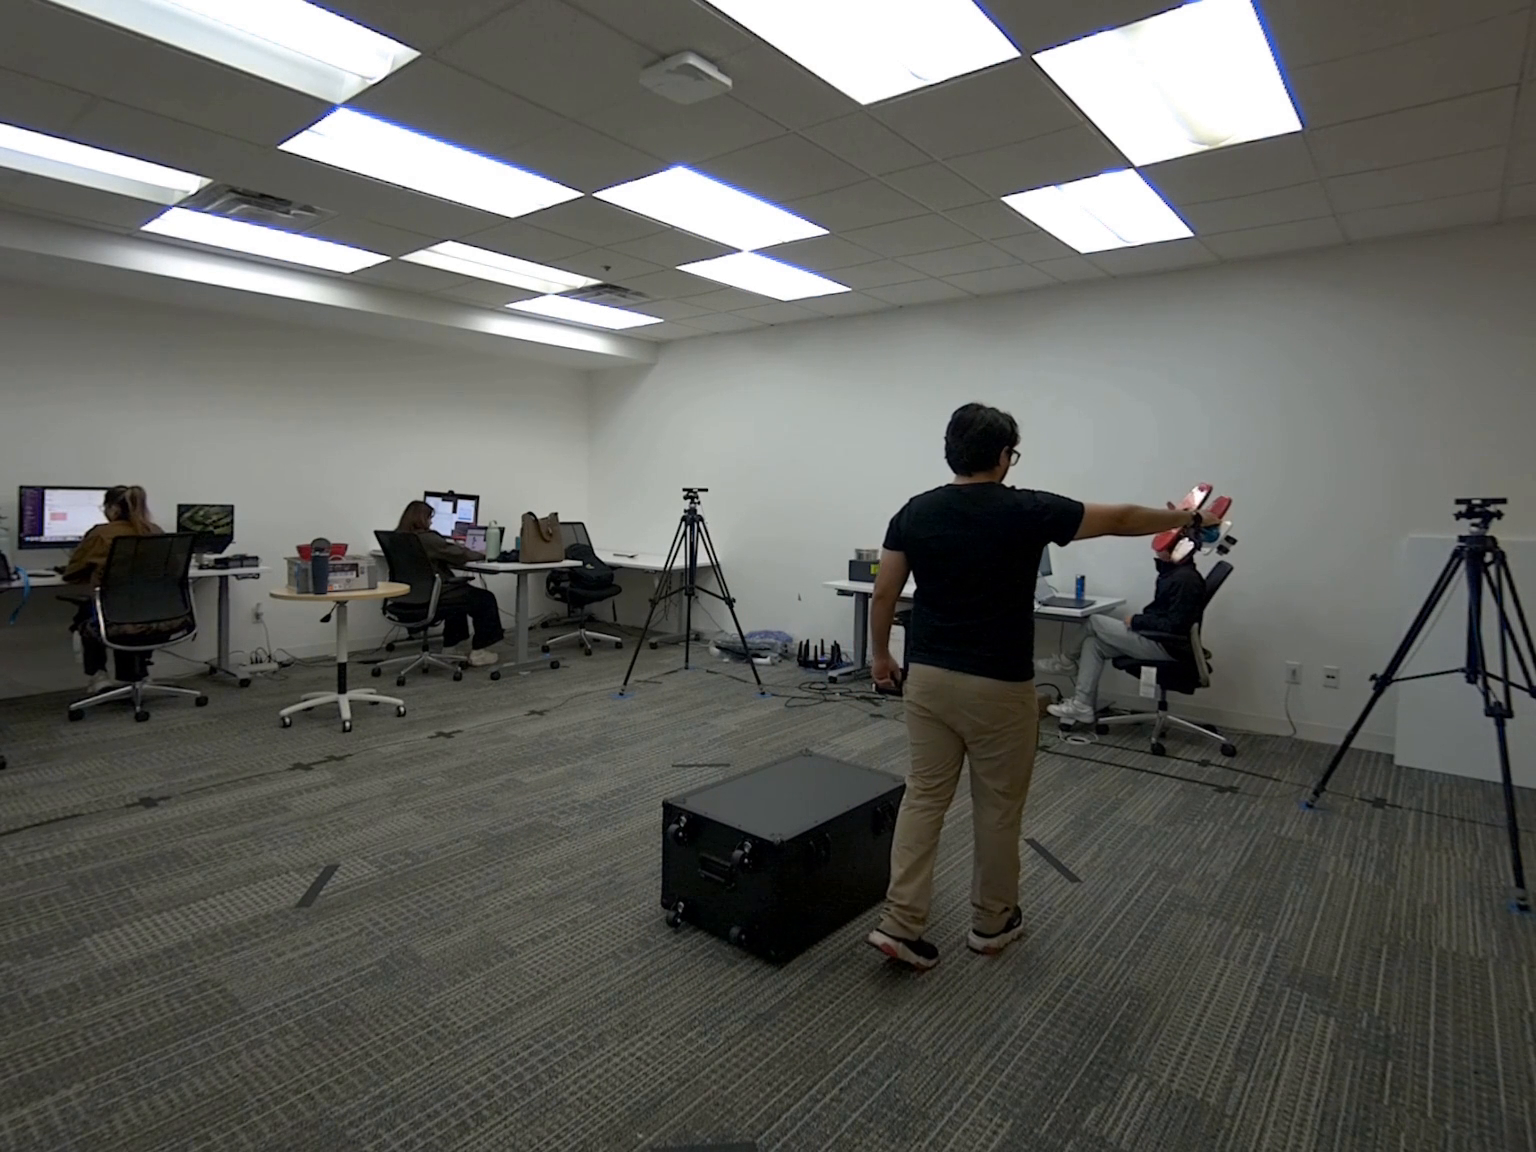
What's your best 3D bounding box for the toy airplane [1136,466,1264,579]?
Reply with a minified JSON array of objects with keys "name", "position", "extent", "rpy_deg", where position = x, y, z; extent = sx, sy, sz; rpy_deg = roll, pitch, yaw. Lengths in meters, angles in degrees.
[{"name":"toy airplane","position":[1.346,-0.164,2.638],"extent":[0.158,0.251,0.256],"rpy_deg":[34,-12,4]}]
